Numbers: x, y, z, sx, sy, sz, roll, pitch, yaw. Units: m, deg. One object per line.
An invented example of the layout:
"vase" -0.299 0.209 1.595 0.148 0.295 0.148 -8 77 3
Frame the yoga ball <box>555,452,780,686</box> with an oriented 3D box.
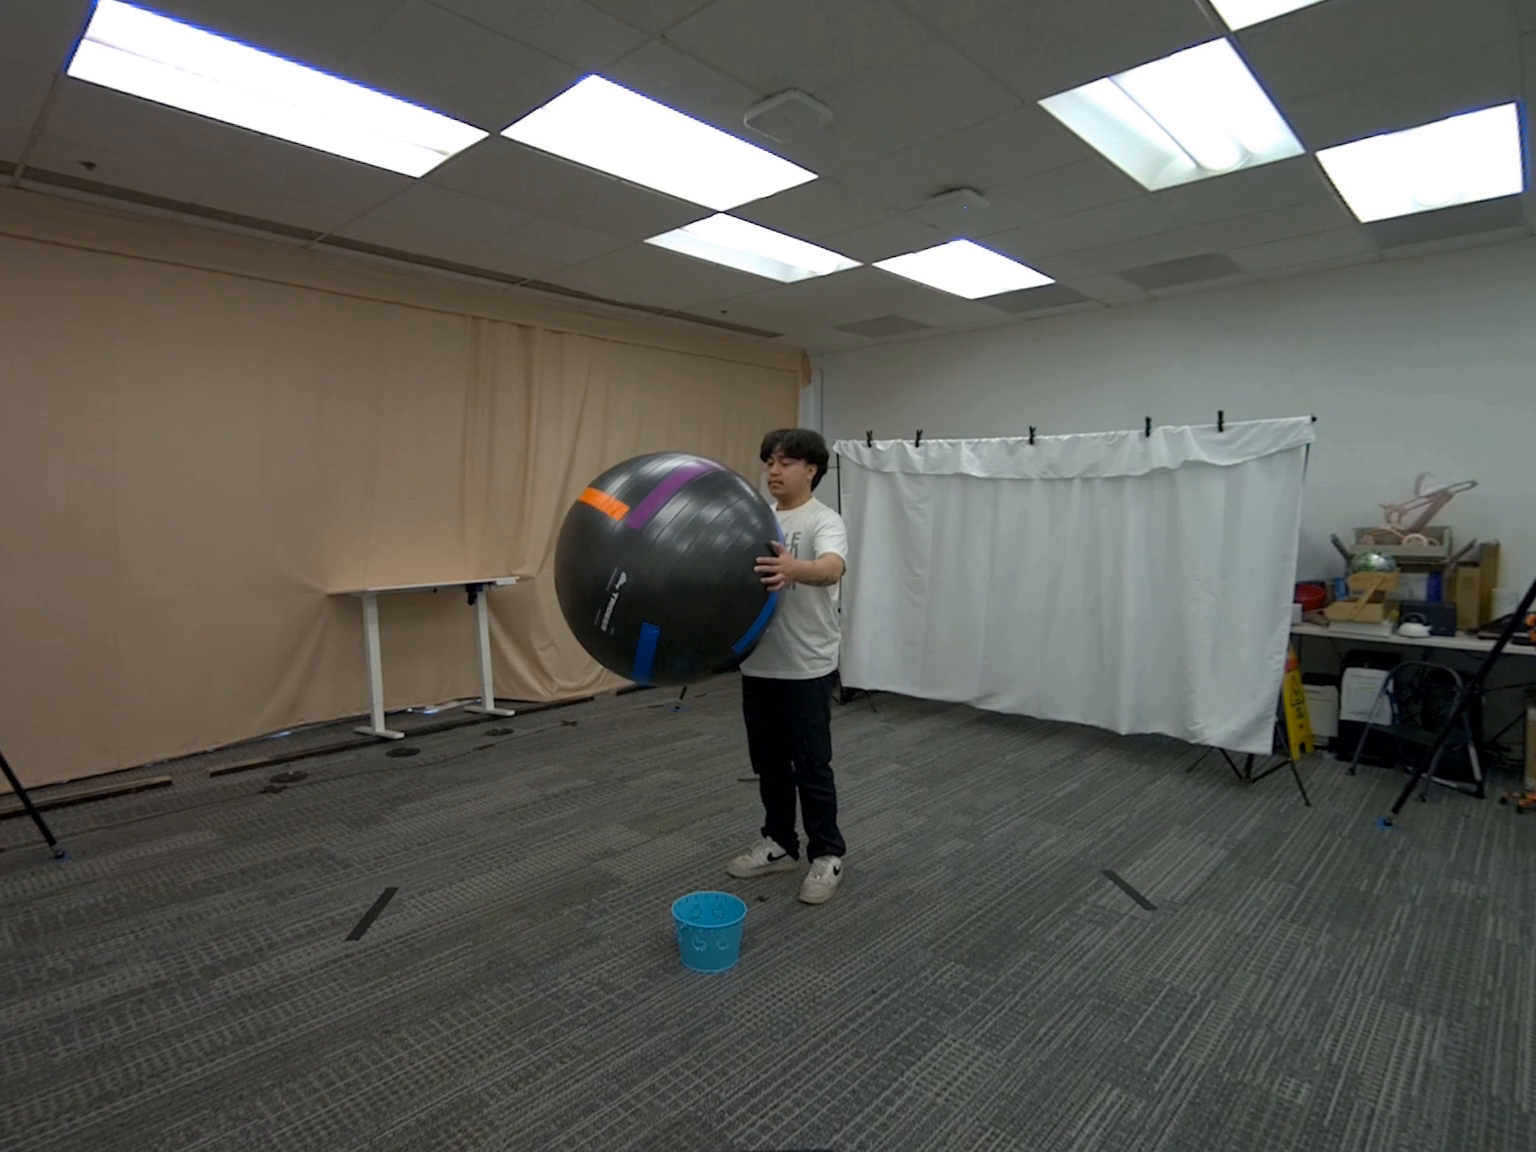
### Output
"yoga ball" -0.320 -0.013 2.729 0.757 0.756 0.760 0 4 -2
